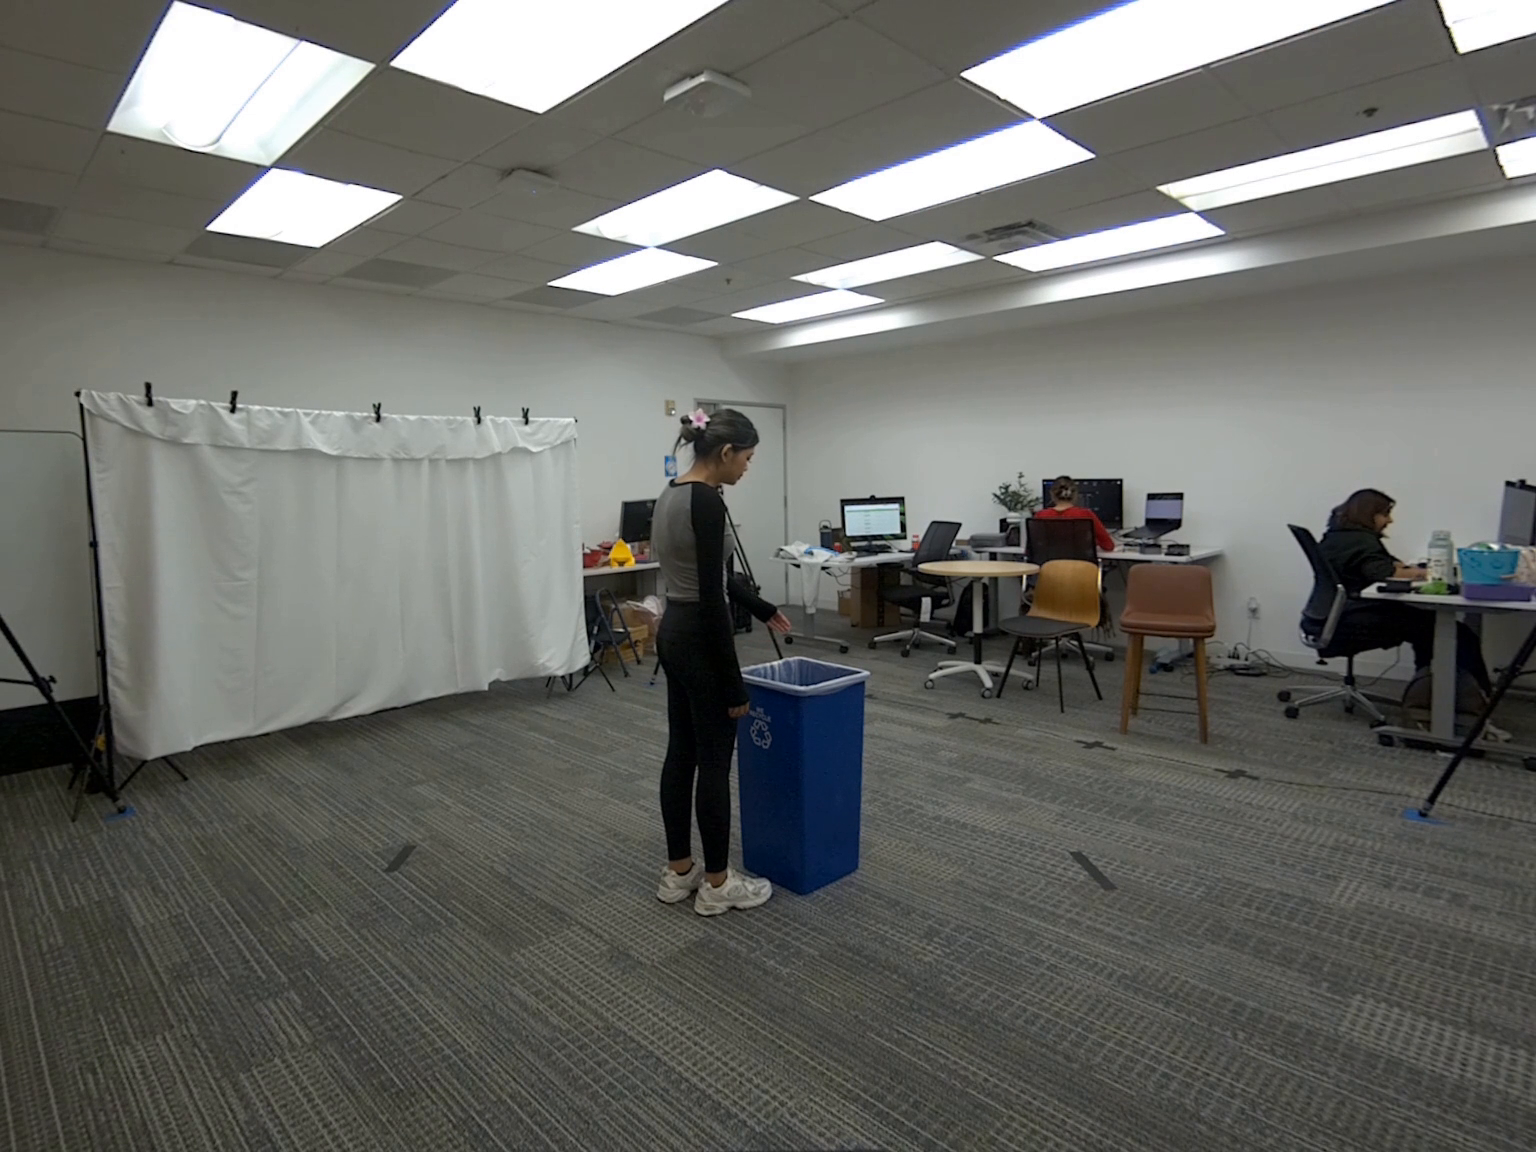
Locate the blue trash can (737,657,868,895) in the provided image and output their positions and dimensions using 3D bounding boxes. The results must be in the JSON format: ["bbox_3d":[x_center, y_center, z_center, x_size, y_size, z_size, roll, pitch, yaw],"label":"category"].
[{"bbox_3d":[0.123,0.690,3.033,0.368,0.711,0.385,-5,6,-43],"label":"blue trash can"}]
